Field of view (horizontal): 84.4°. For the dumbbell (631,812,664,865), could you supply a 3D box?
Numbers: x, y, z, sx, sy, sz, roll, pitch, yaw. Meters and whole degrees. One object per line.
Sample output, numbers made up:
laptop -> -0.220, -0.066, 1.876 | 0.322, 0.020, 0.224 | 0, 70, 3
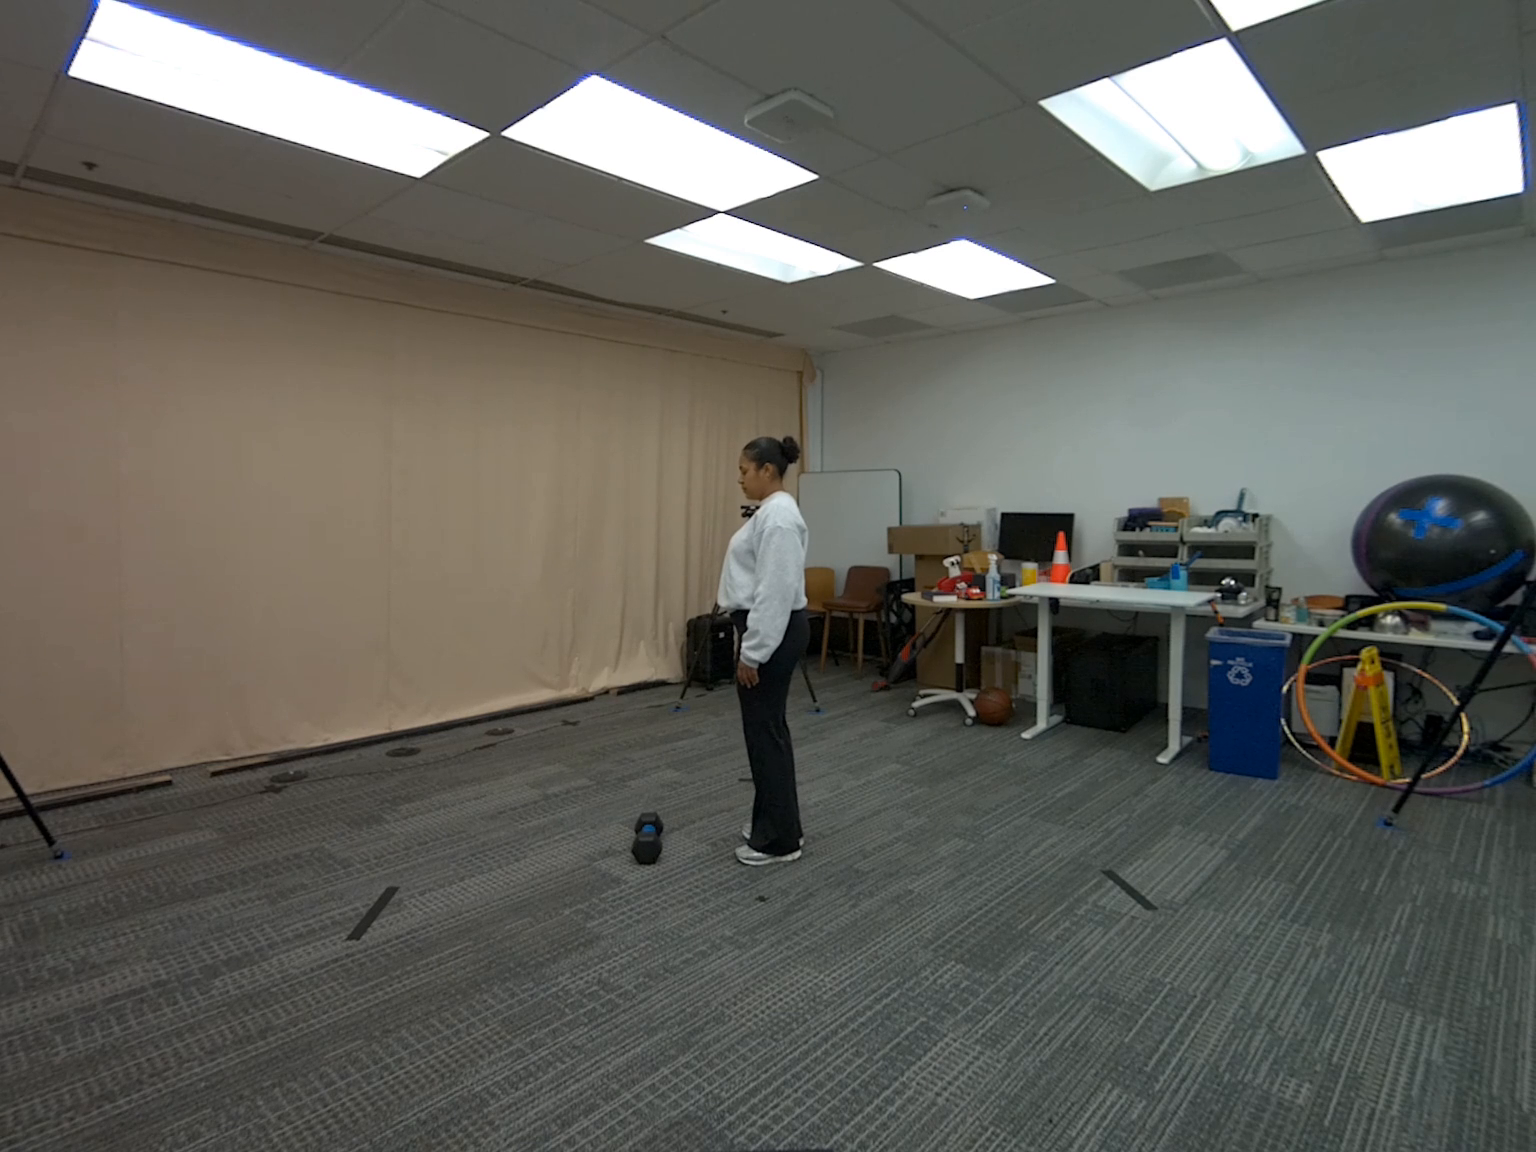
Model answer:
dumbbell -> -0.482, 1.063, 3.413 | 0.108, 0.123, 0.296 | 29, 1, -8
